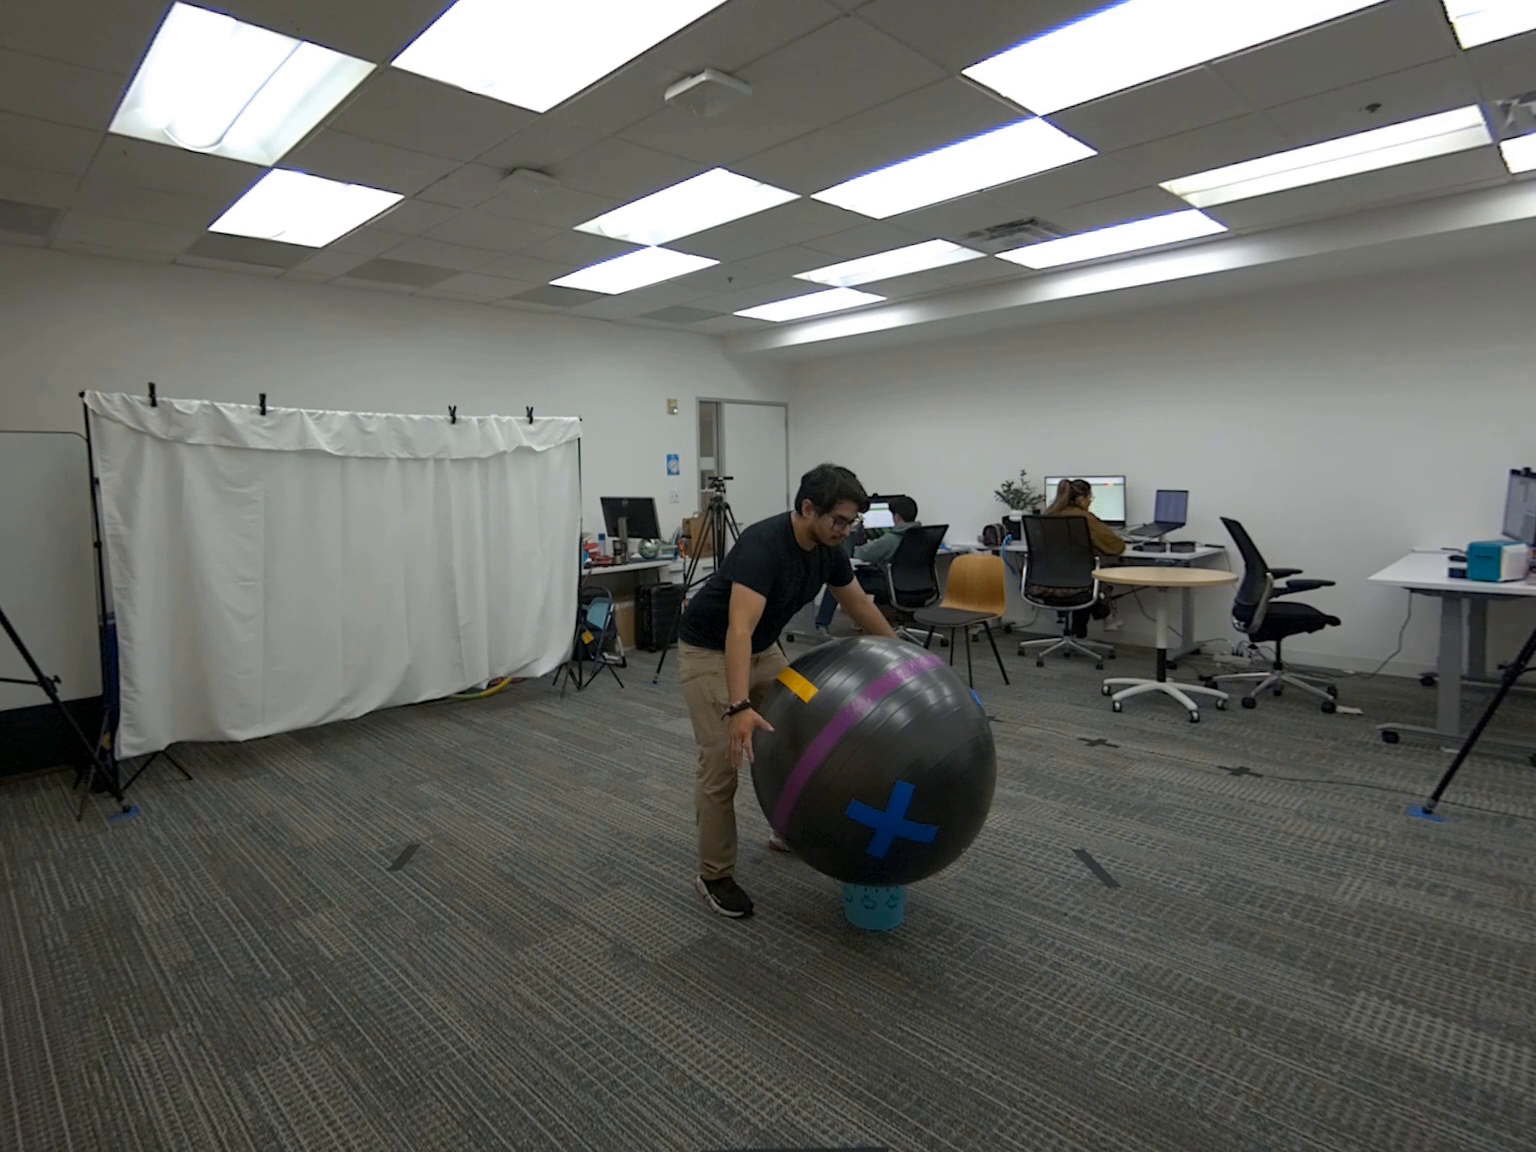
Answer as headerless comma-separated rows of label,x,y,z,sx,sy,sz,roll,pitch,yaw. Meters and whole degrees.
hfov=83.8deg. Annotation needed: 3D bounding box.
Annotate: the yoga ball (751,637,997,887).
yoga ball,0.327,0.576,2.671,0.757,0.755,0.762,-1,5,-2
